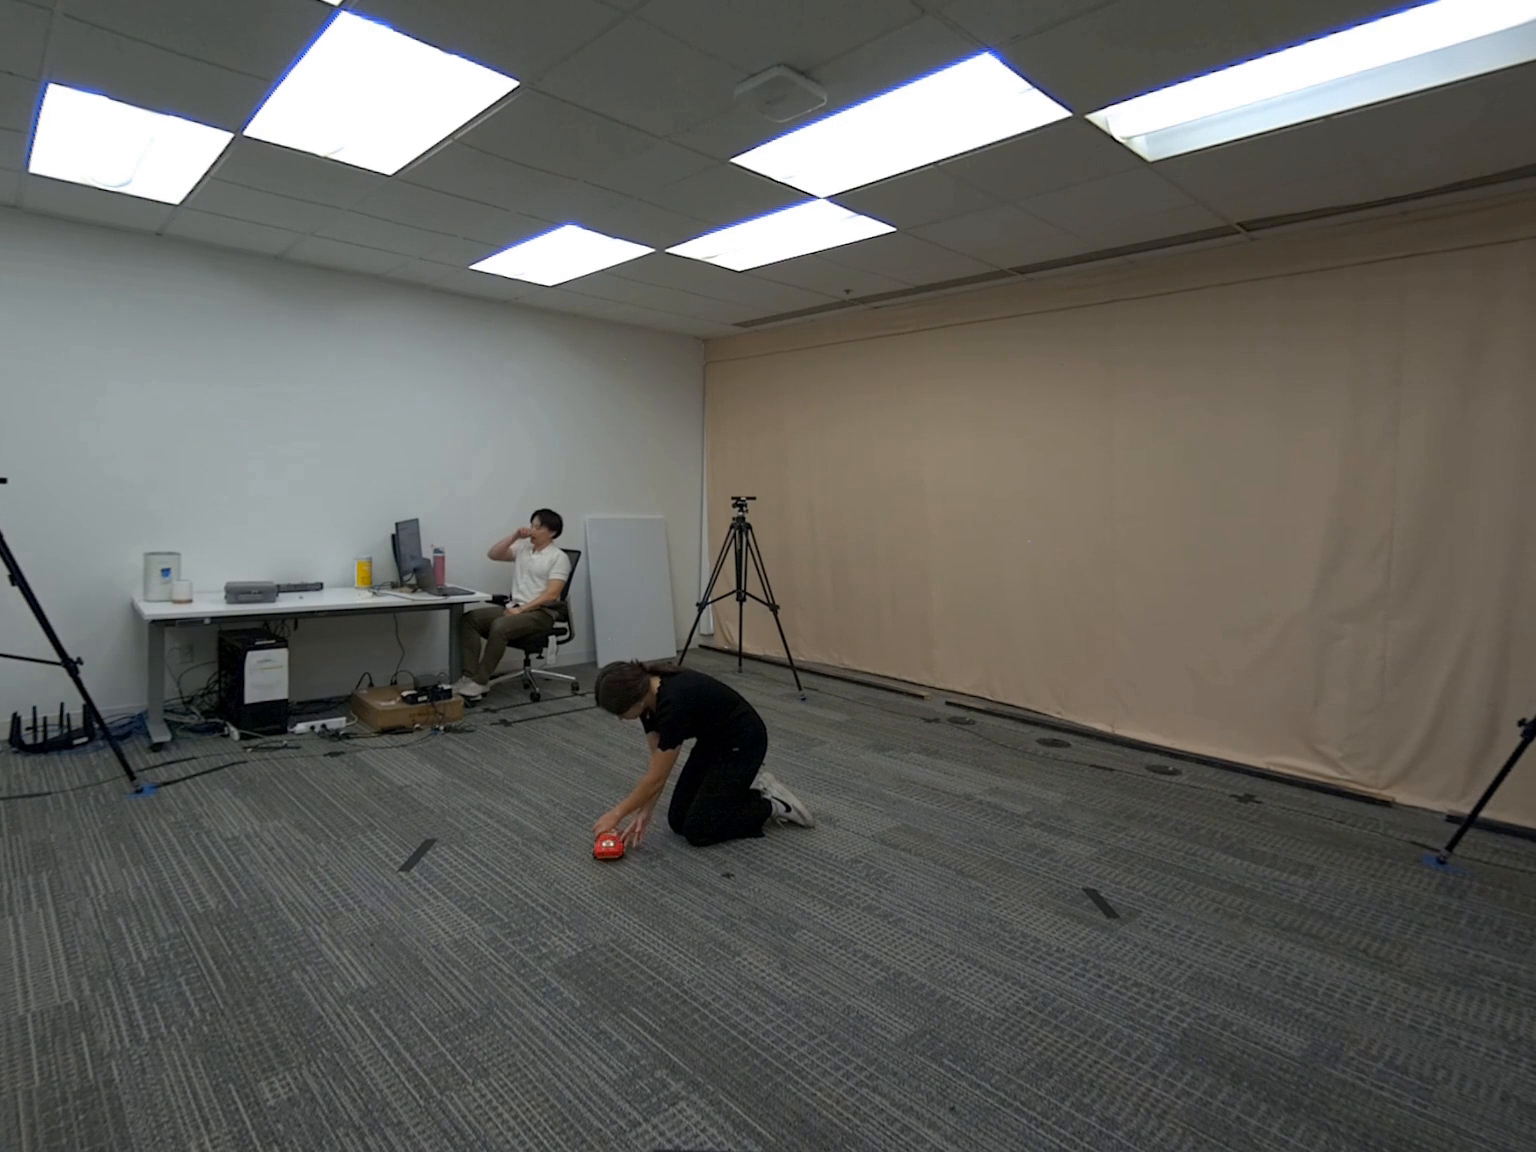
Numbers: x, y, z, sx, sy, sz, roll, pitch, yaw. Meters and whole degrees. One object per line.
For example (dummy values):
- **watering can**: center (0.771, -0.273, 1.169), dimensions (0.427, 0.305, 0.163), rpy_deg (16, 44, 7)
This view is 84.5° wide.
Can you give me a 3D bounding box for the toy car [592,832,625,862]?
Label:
- **toy car**: center (-0.624, 1.047, 3.275), dimensions (0.129, 0.084, 0.254), rpy_deg (2, -7, -9)
